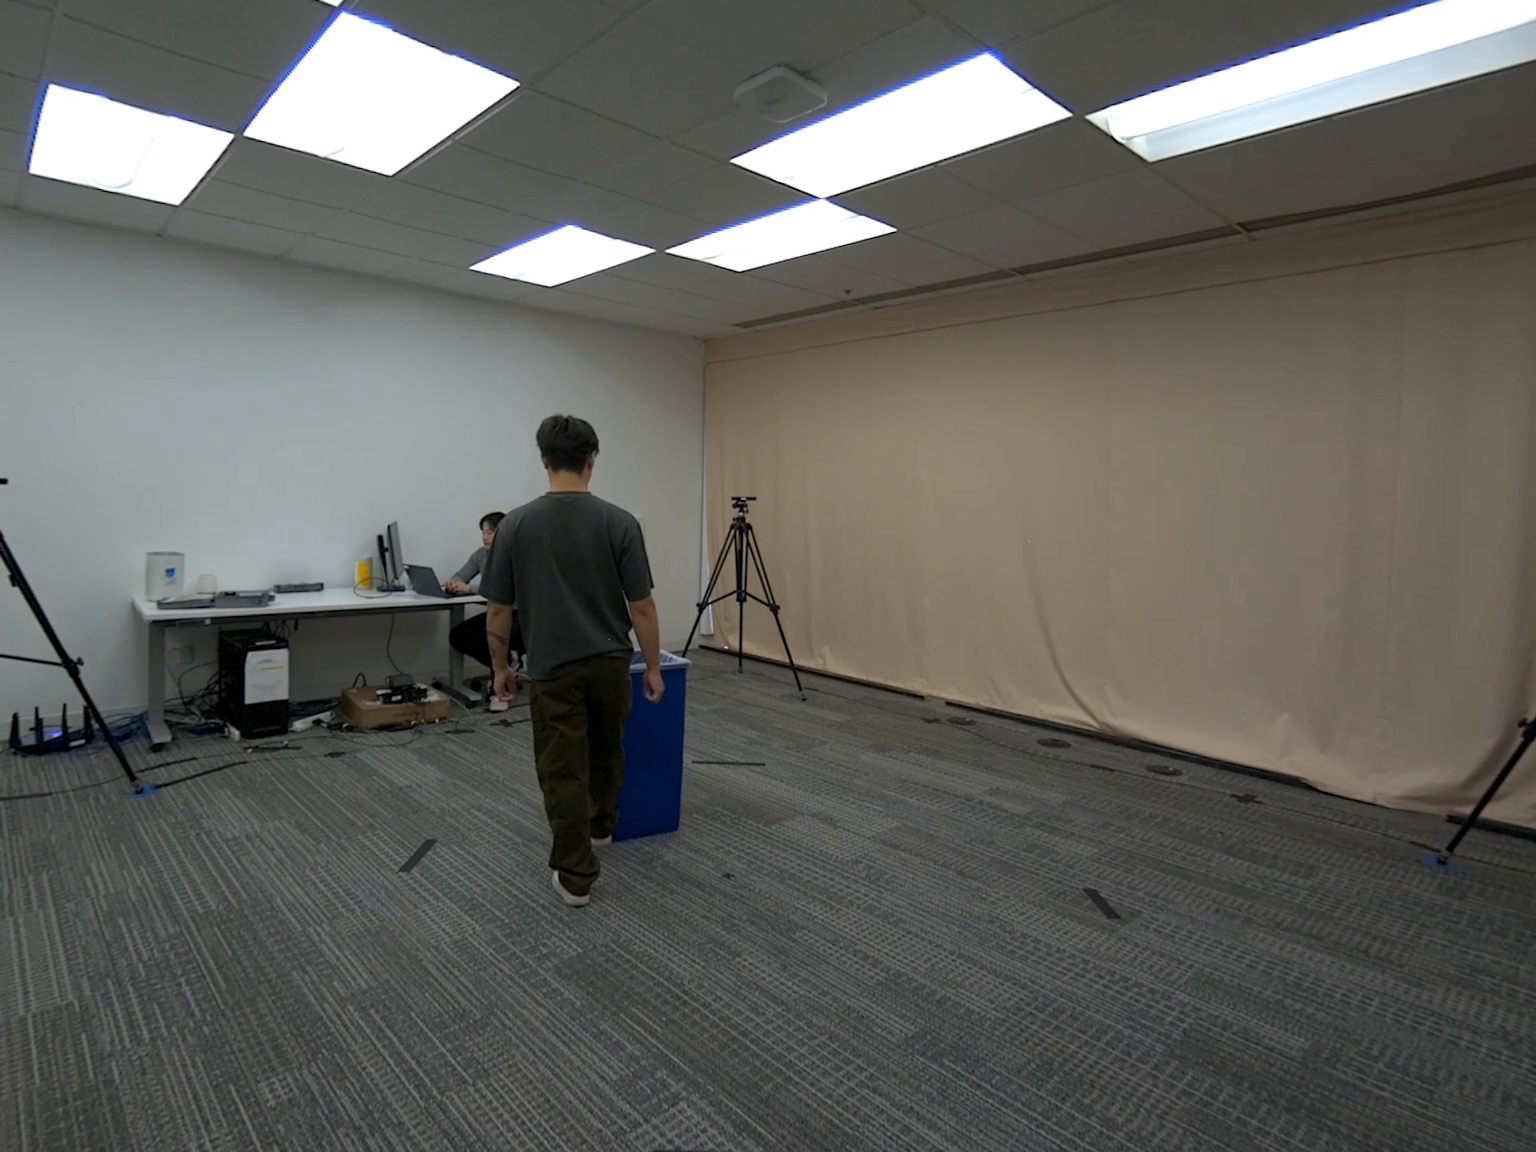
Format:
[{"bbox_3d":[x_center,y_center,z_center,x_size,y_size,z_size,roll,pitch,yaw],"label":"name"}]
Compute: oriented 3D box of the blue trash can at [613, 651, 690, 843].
[{"bbox_3d":[-0.565,0.698,3.561,0.370,0.712,0.383,-1,3,-34],"label":"blue trash can"}]
